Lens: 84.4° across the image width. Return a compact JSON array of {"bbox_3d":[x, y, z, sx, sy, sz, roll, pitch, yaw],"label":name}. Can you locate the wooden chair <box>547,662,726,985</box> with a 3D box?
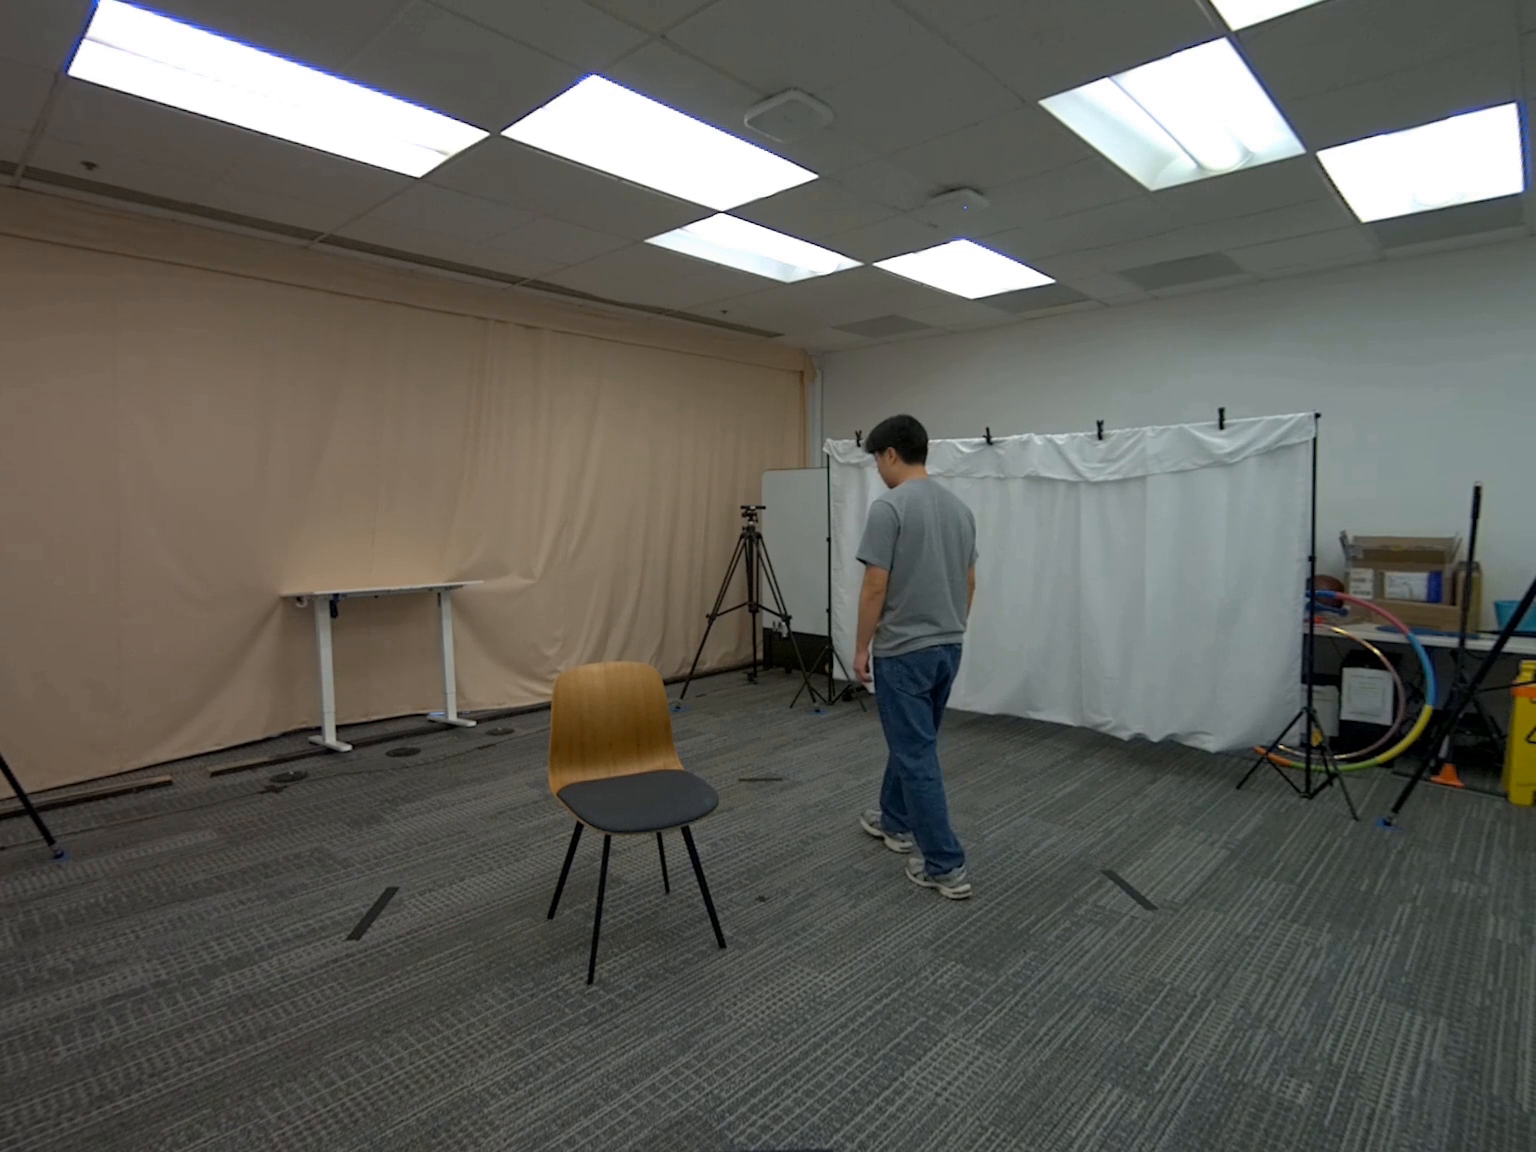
[{"bbox_3d":[-0.434,0.744,2.713,0.466,0.878,0.536,-2,-1,-28],"label":"wooden chair"}]
